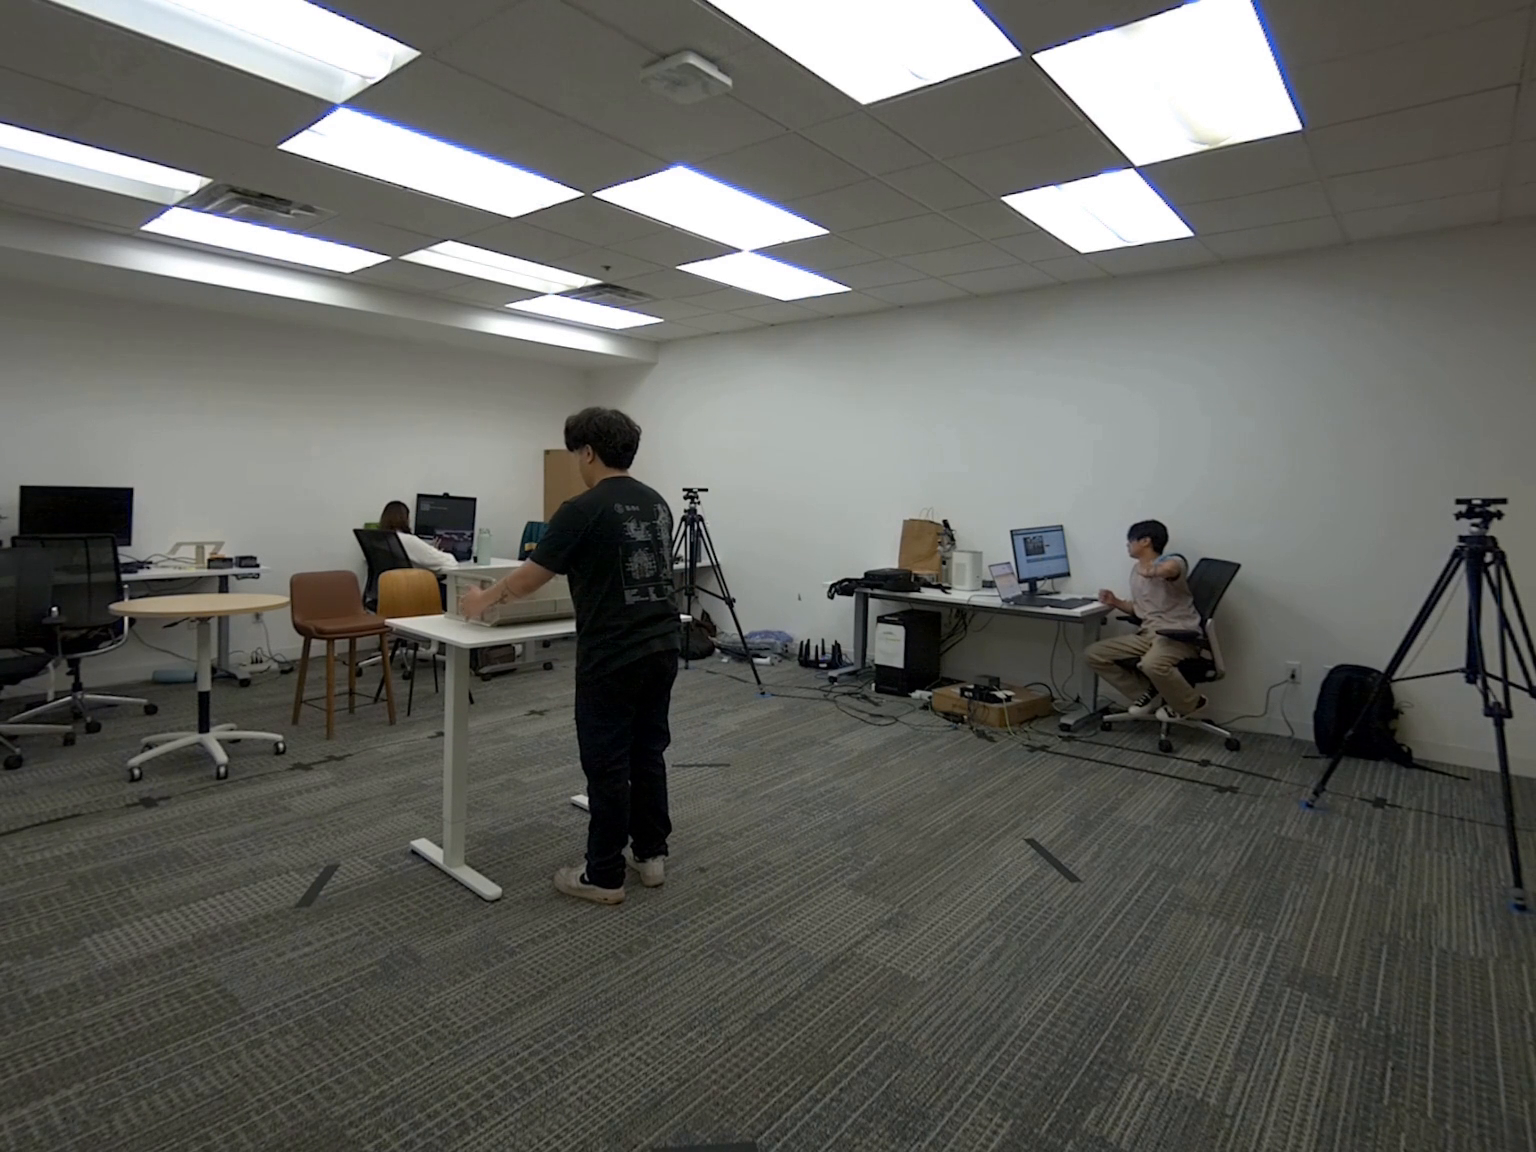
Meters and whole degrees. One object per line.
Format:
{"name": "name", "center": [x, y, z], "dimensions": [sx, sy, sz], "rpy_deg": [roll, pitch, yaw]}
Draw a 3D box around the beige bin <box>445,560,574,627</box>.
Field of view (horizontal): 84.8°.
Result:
{"name": "beige bin", "center": [-0.994, 0.077, 3.267], "dimensions": [0.390, 0.188, 0.410], "rpy_deg": [5, 7, 42]}
